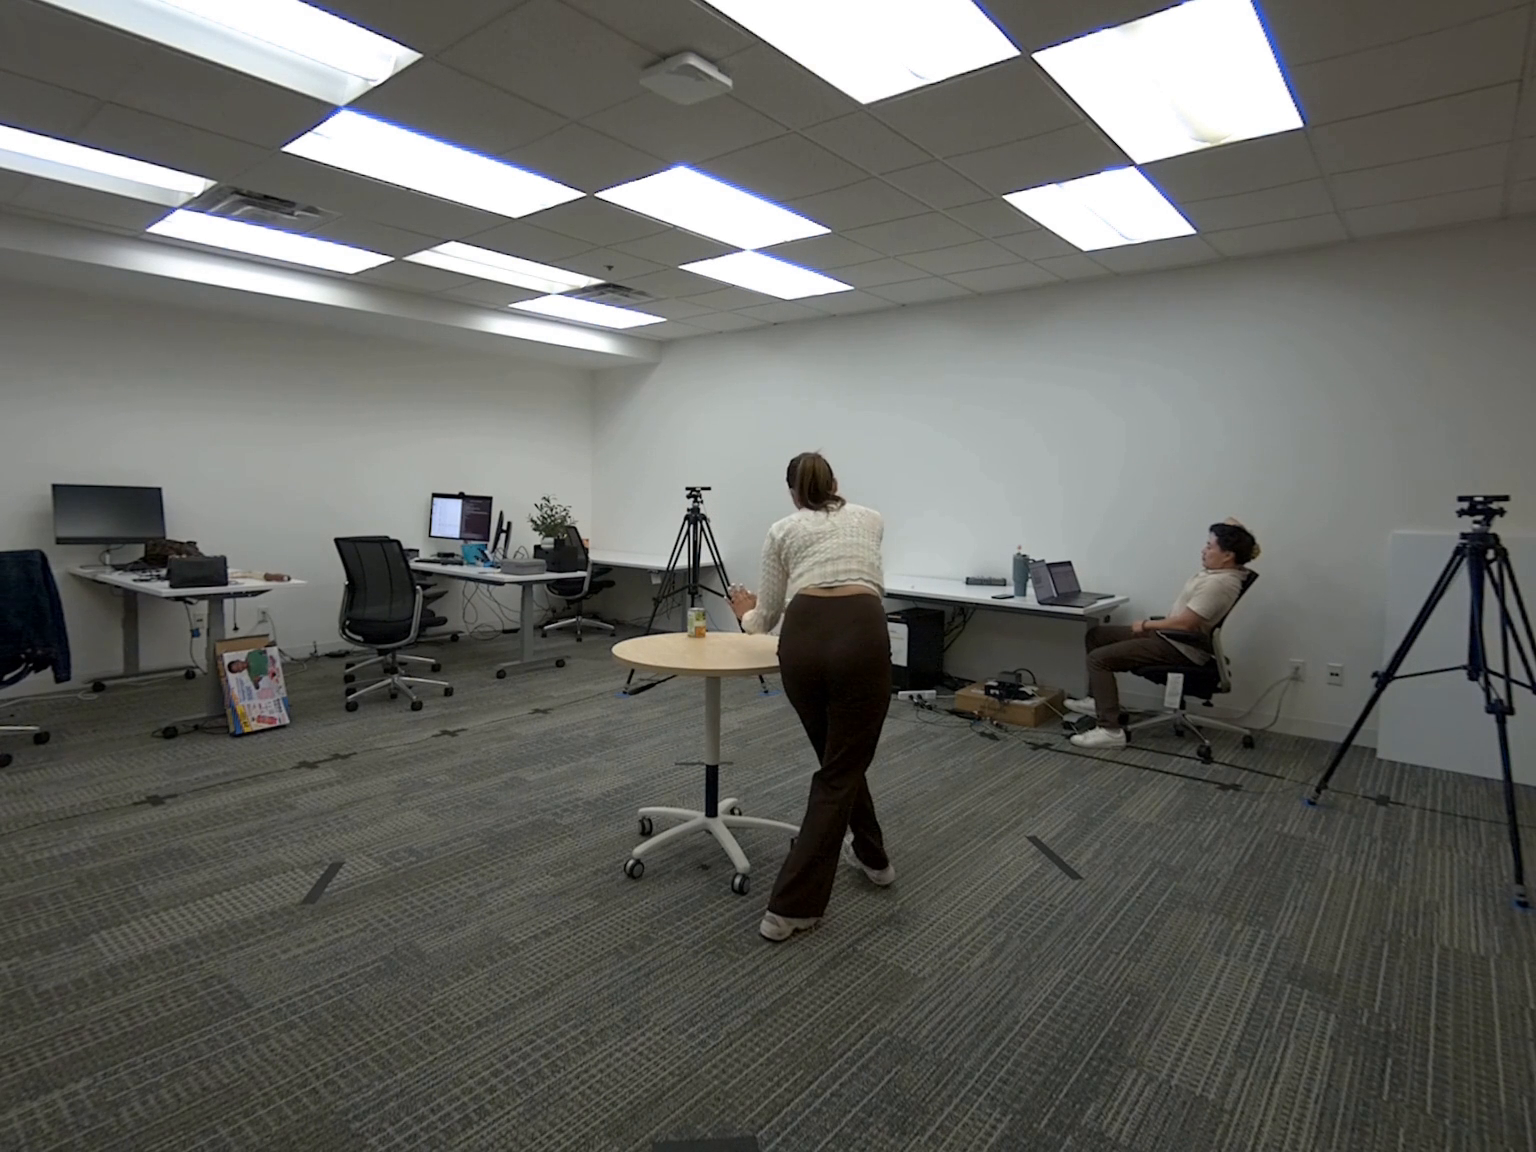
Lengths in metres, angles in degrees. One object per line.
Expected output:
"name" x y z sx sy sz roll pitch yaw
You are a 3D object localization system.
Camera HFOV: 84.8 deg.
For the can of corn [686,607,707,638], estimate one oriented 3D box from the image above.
"can of corn" -0.303 0.190 3.494 0.074 0.111 0.074 1 1 -2
